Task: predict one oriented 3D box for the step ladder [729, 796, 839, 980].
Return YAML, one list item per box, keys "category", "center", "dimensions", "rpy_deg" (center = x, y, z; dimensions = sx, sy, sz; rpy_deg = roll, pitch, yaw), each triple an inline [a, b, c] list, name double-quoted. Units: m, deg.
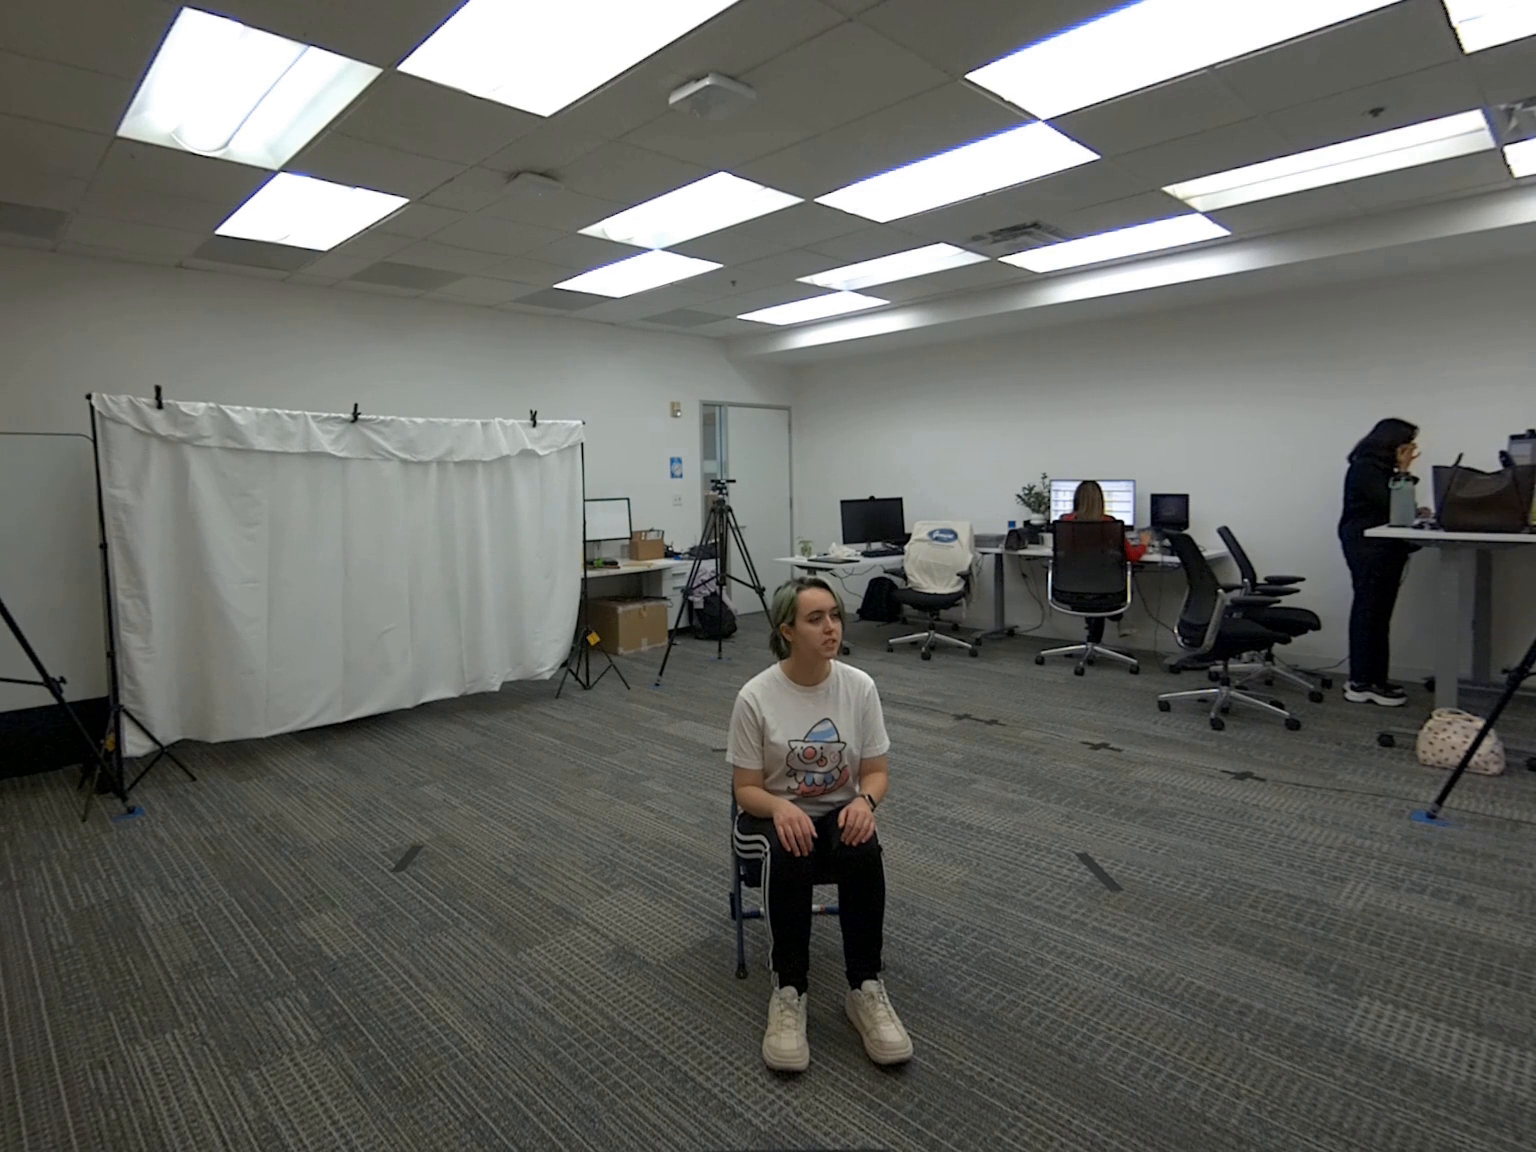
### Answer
- category: "step ladder"
  center: [0.107, 0.810, 2.568]
  dimensions: [0.429, 0.603, 0.352]
  rpy_deg: [-2, 5, -5]
